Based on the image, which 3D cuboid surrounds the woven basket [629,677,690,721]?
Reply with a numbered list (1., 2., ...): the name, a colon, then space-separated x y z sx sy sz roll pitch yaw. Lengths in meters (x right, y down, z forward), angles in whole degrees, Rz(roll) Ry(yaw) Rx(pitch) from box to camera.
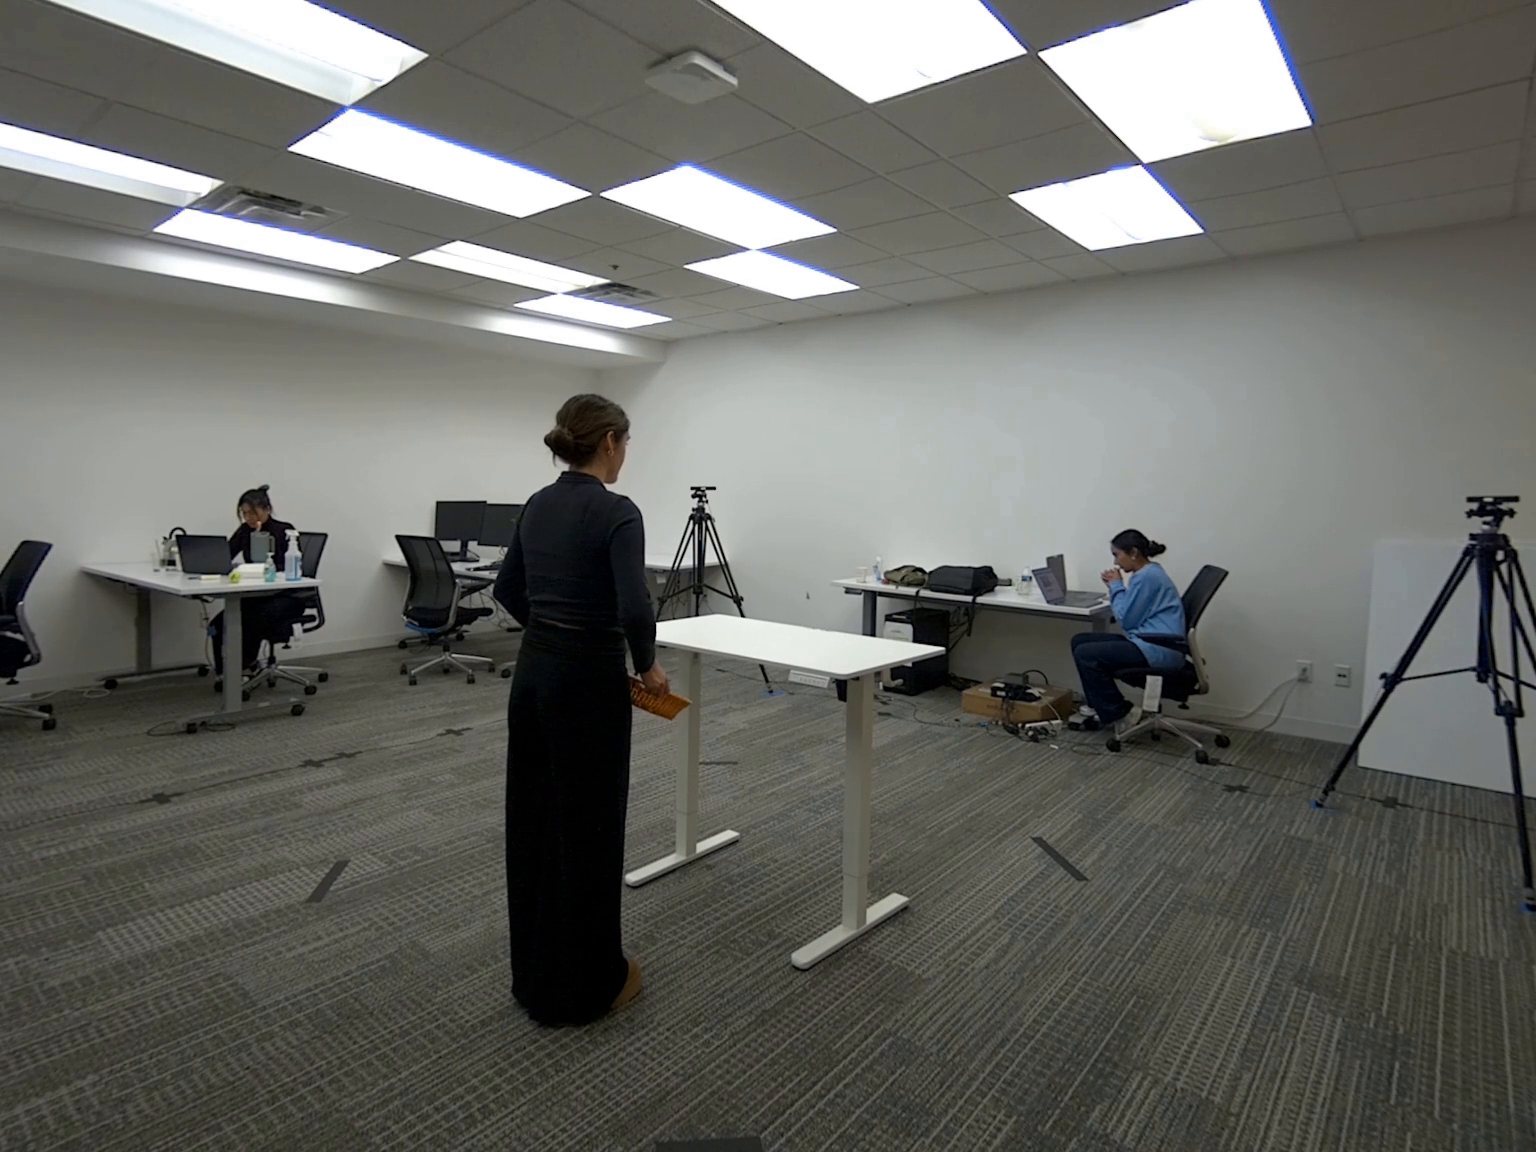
1. woven basket: -0.377 0.332 2.451 0.363 0.074 0.242 16 -13 32
